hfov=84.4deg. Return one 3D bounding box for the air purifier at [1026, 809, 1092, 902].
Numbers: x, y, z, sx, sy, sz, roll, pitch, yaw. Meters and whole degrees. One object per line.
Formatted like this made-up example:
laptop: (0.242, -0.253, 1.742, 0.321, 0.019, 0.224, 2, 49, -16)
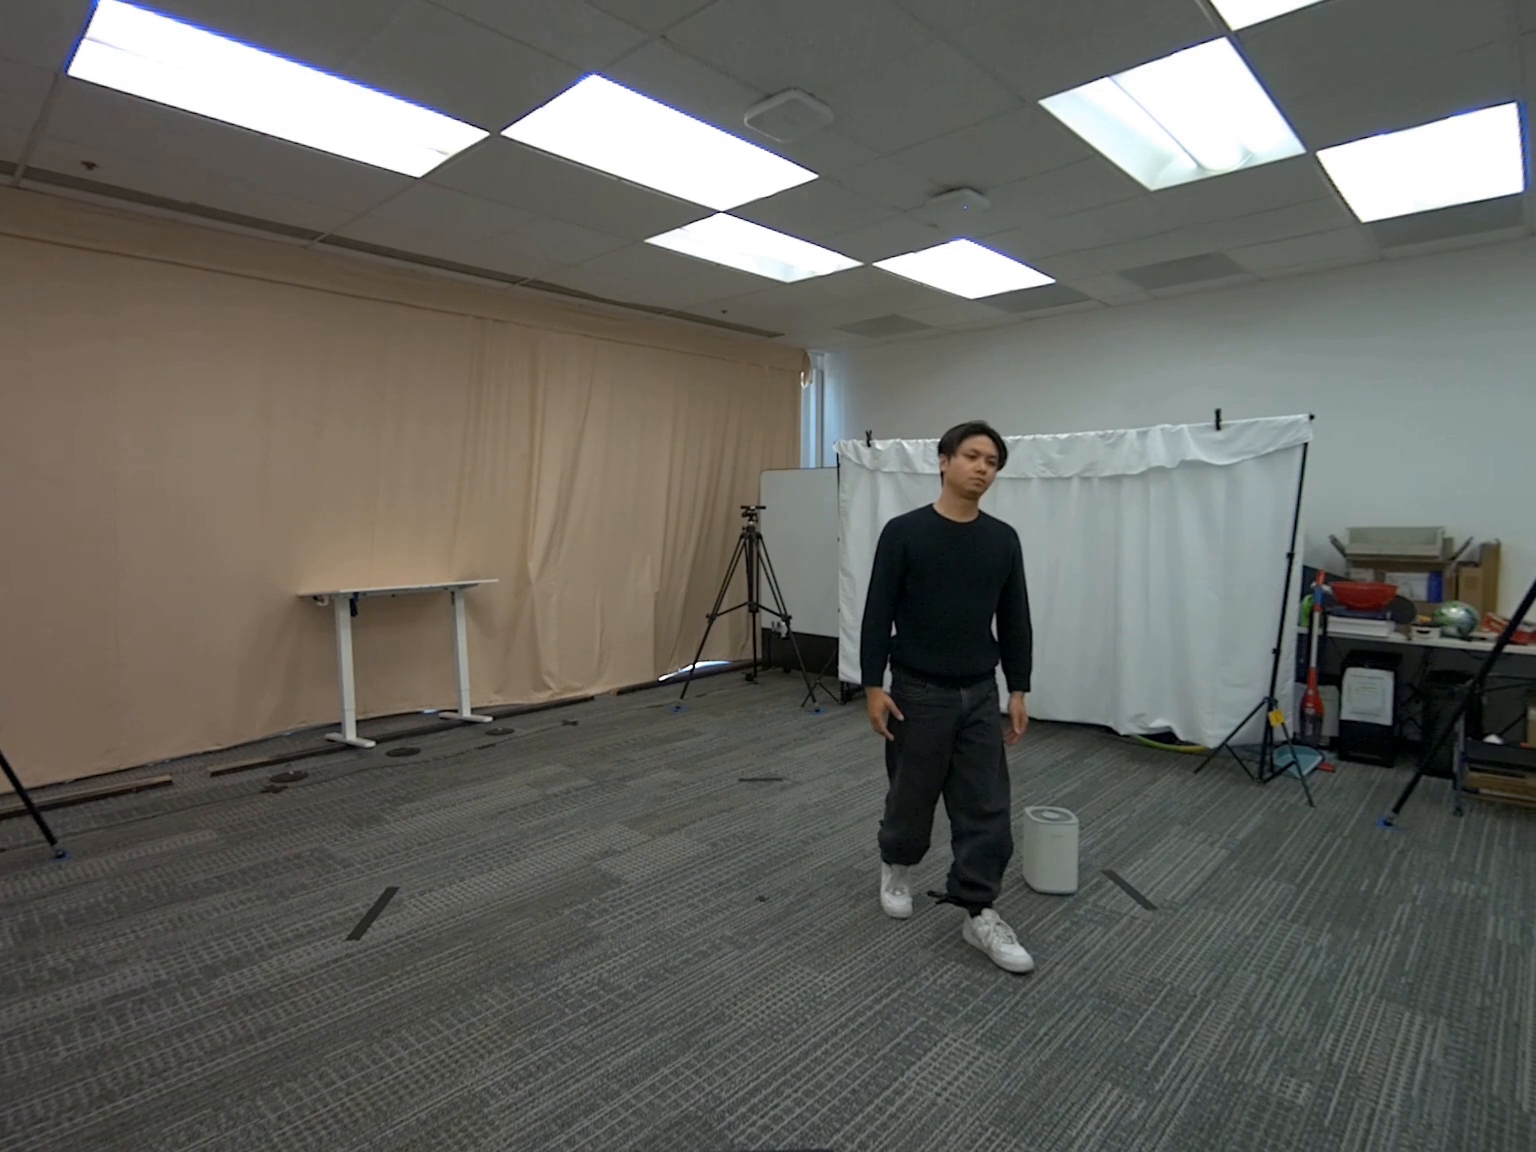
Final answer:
air purifier: (1.051, 1.007, 3.074, 0.172, 0.265, 0.171, -1, 4, 2)
